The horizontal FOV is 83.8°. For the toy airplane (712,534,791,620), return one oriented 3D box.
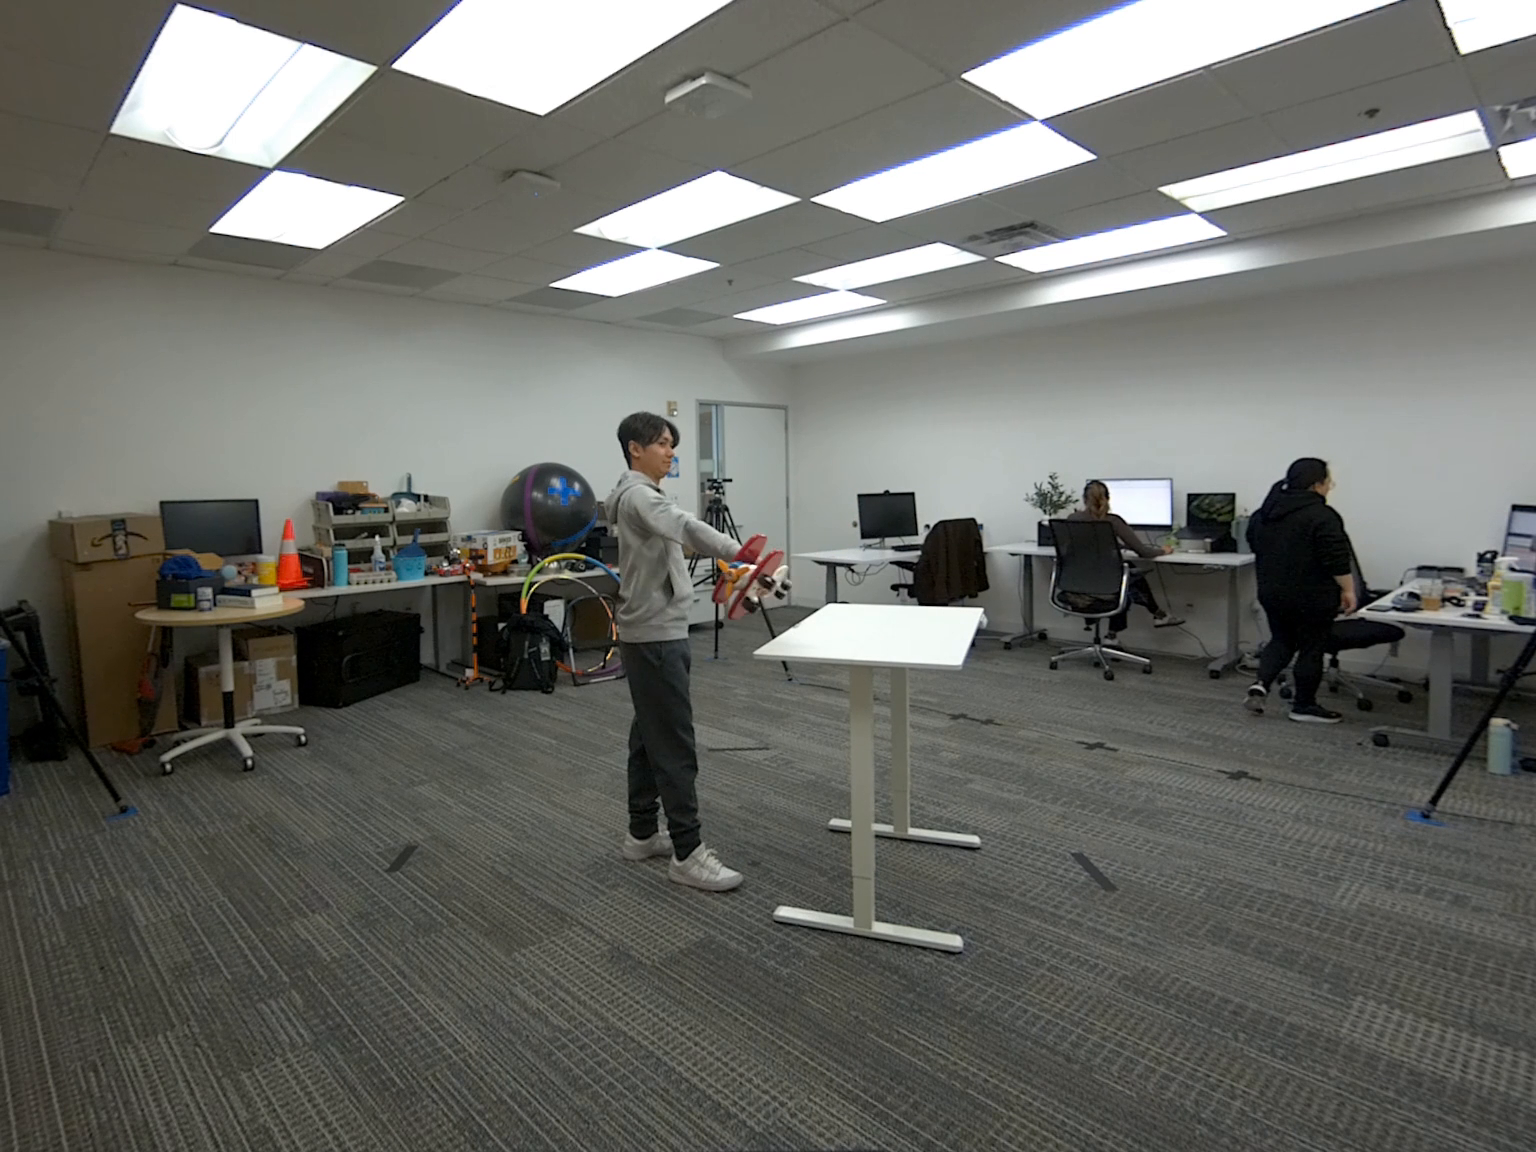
[{"bbox_3d":[-0.041,0.023,2.562,0.160,0.251,0.253,38,-11,16],"label":"toy airplane"}]
